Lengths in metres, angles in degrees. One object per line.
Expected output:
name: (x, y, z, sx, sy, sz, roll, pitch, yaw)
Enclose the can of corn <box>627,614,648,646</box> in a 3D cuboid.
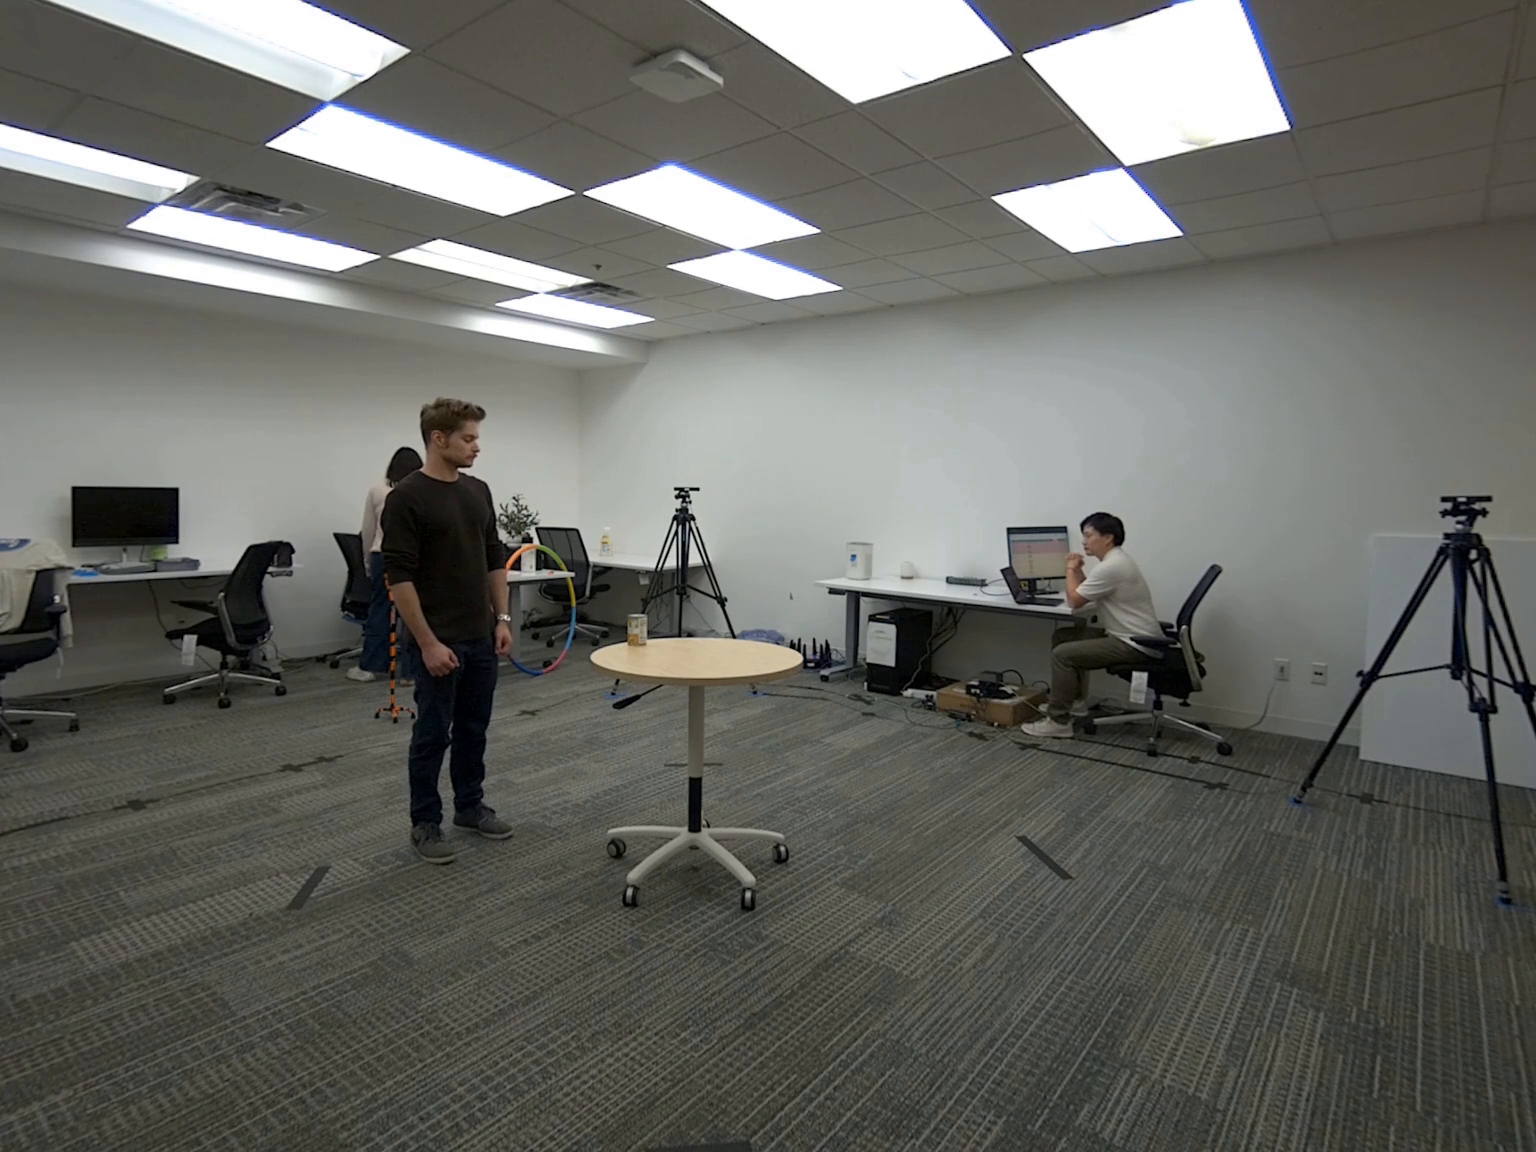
can of corn: (-0.522, 0.208, 3.295, 0.074, 0.111, 0.074, 0, 4, -2)
